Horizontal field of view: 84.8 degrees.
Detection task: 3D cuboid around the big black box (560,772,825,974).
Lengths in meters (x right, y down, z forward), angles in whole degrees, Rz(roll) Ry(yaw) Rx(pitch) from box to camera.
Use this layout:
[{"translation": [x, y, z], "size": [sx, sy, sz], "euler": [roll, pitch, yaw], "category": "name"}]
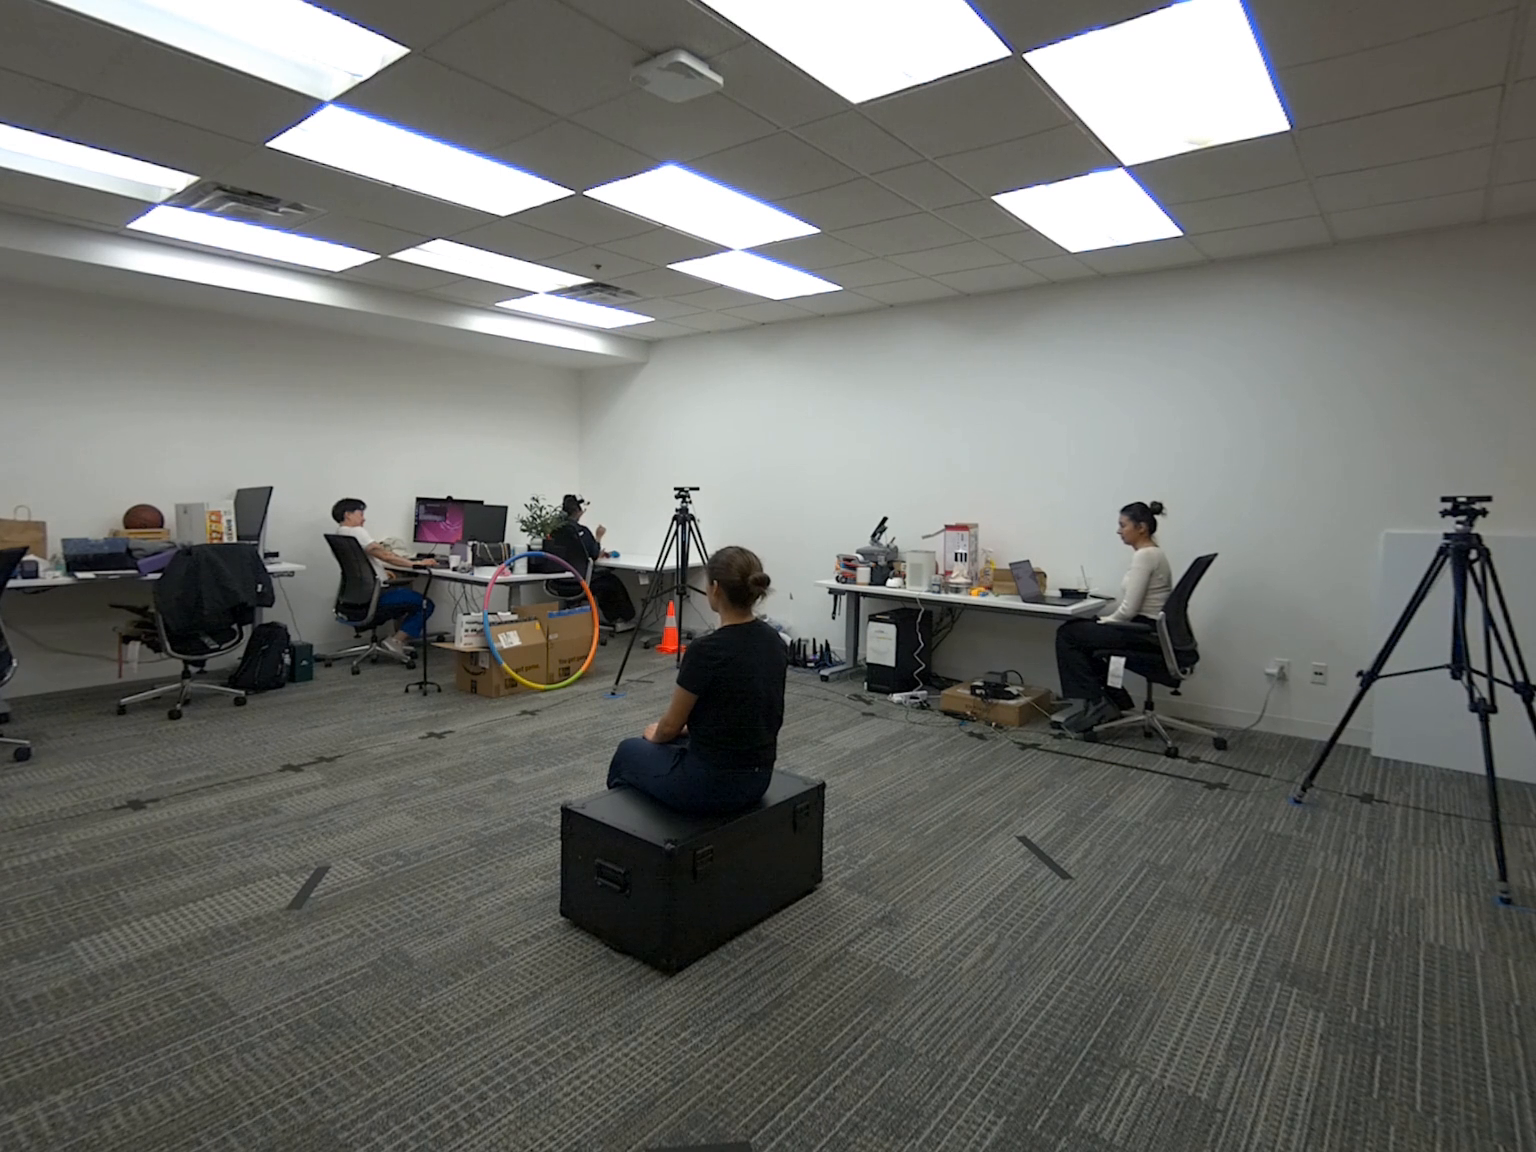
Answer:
[{"translation": [-0.198, 0.902, 2.864], "size": [0.539, 0.394, 0.837], "euler": [5, 7, 39], "category": "big black box"}]
